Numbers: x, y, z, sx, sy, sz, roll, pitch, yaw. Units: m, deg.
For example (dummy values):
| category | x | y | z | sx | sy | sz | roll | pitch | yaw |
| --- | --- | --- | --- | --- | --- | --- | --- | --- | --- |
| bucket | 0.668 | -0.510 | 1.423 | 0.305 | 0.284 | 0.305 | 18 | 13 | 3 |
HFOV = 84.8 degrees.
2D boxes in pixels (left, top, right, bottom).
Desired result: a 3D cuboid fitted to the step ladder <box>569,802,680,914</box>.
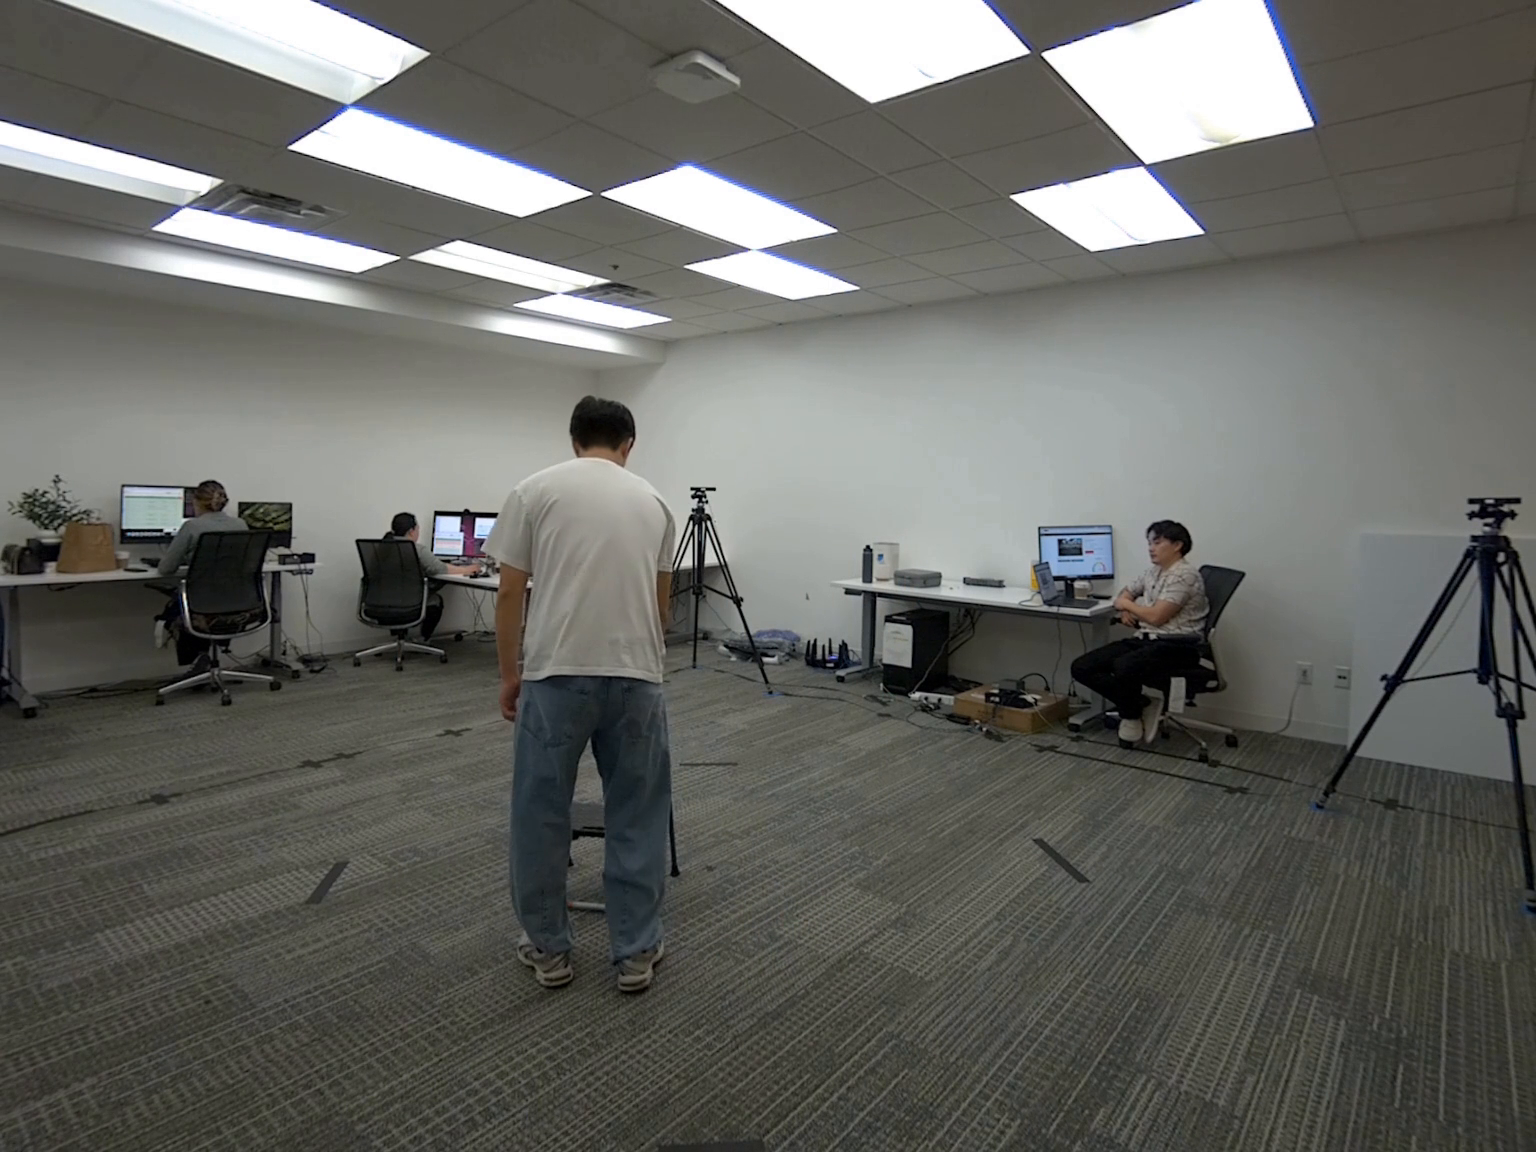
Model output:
| category | x | y | z | sx | sy | sz | roll | pitch | yaw |
| --- | --- | --- | --- | --- | --- | --- | --- | --- | --- |
| step ladder | -0.550 | 0.775 | 2.910 | 0.434 | 0.604 | 0.347 | 1 | 3 | 7 |
